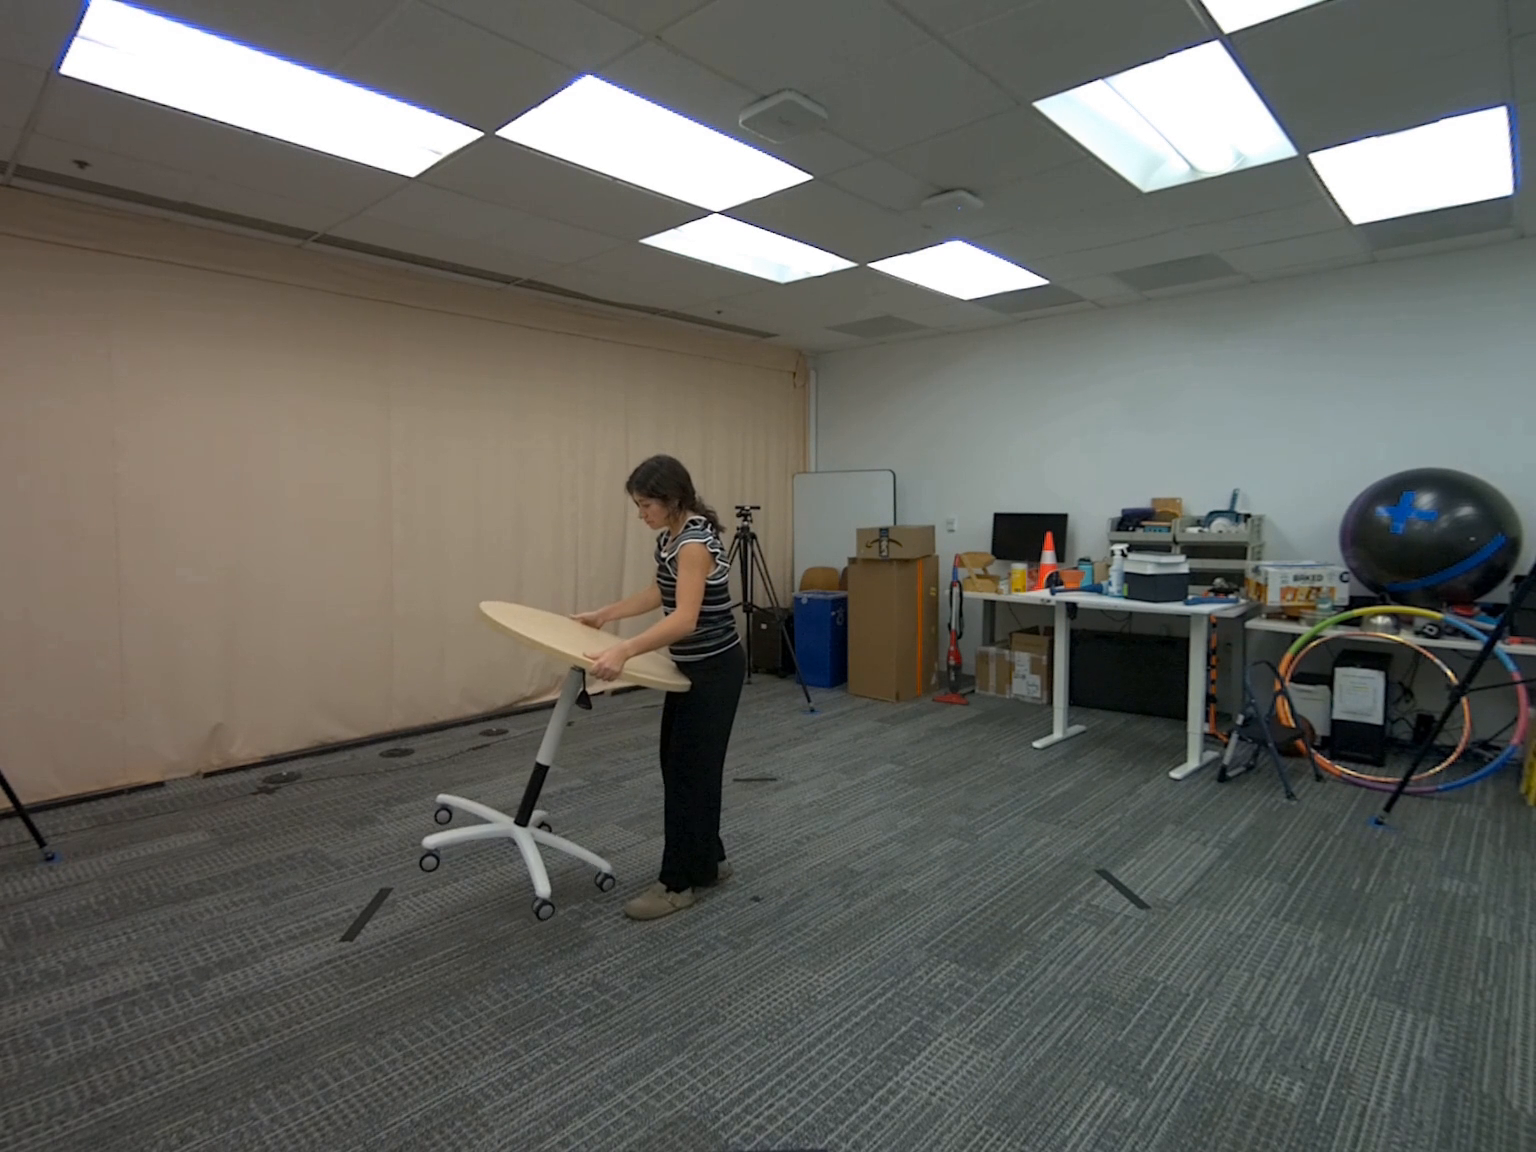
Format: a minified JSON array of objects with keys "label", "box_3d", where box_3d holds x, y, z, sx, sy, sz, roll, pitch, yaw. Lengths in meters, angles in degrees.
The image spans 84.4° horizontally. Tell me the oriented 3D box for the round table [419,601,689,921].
[{"label":"round table","box_3d":[-0.751,0.605,2.861,0.763,0.794,0.765,20,-1,-2]}]
